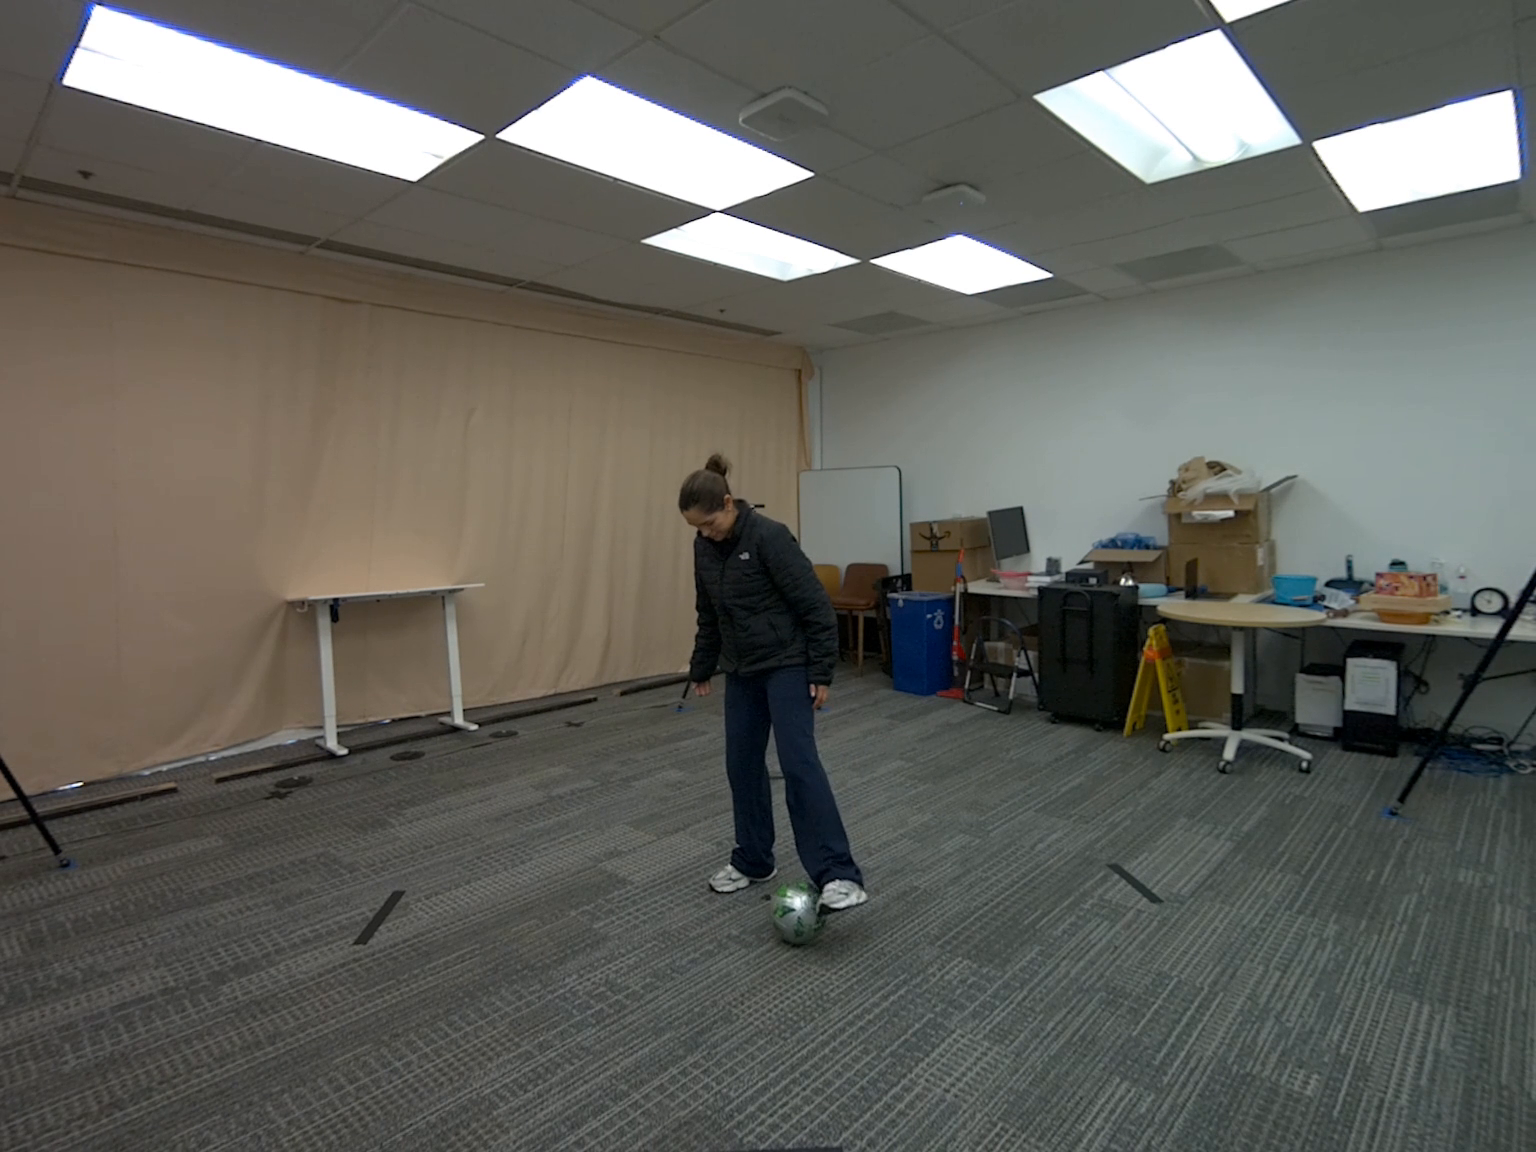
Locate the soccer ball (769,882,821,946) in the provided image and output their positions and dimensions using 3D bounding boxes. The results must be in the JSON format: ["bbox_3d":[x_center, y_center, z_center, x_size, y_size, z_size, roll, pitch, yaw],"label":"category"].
[{"bbox_3d":[0.100,1.078,2.684,0.187,0.187,0.188,-1,4,-2],"label":"soccer ball"}]
